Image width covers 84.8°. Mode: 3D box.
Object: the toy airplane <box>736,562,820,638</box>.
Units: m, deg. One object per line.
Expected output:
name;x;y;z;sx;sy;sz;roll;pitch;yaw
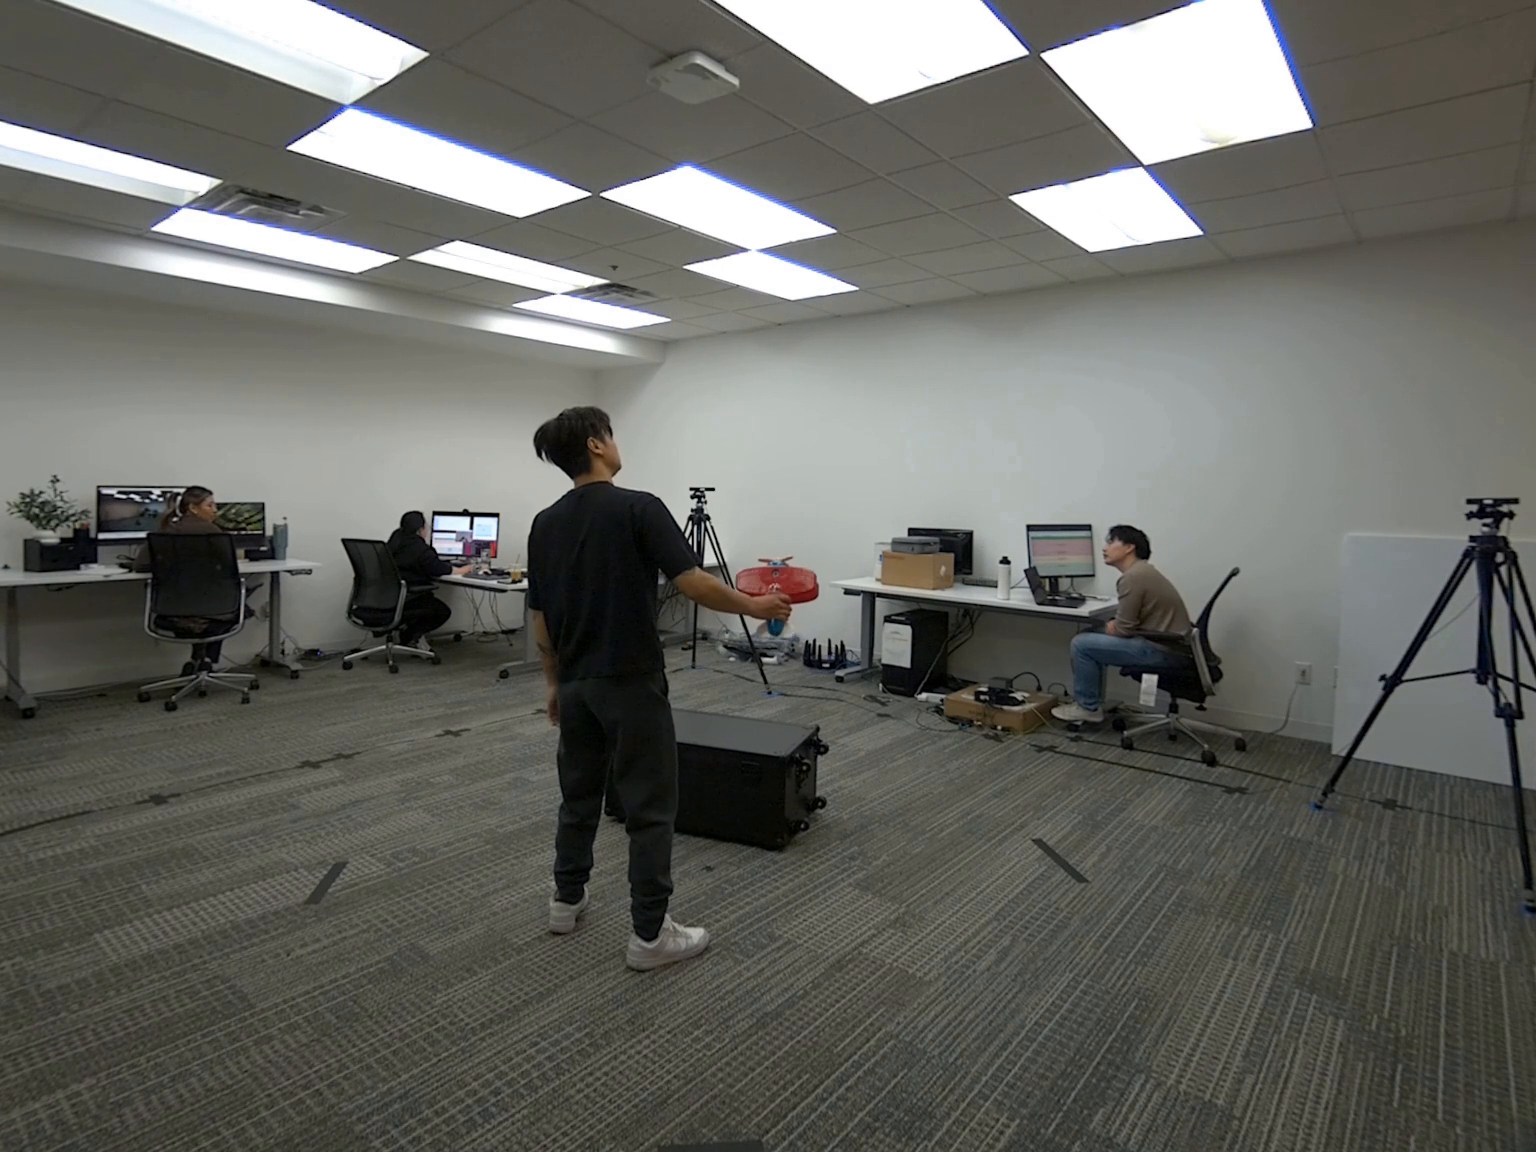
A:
toy airplane;0.041;0.065;2.686;0.250;0.270;0.151;-24;-38;-7
